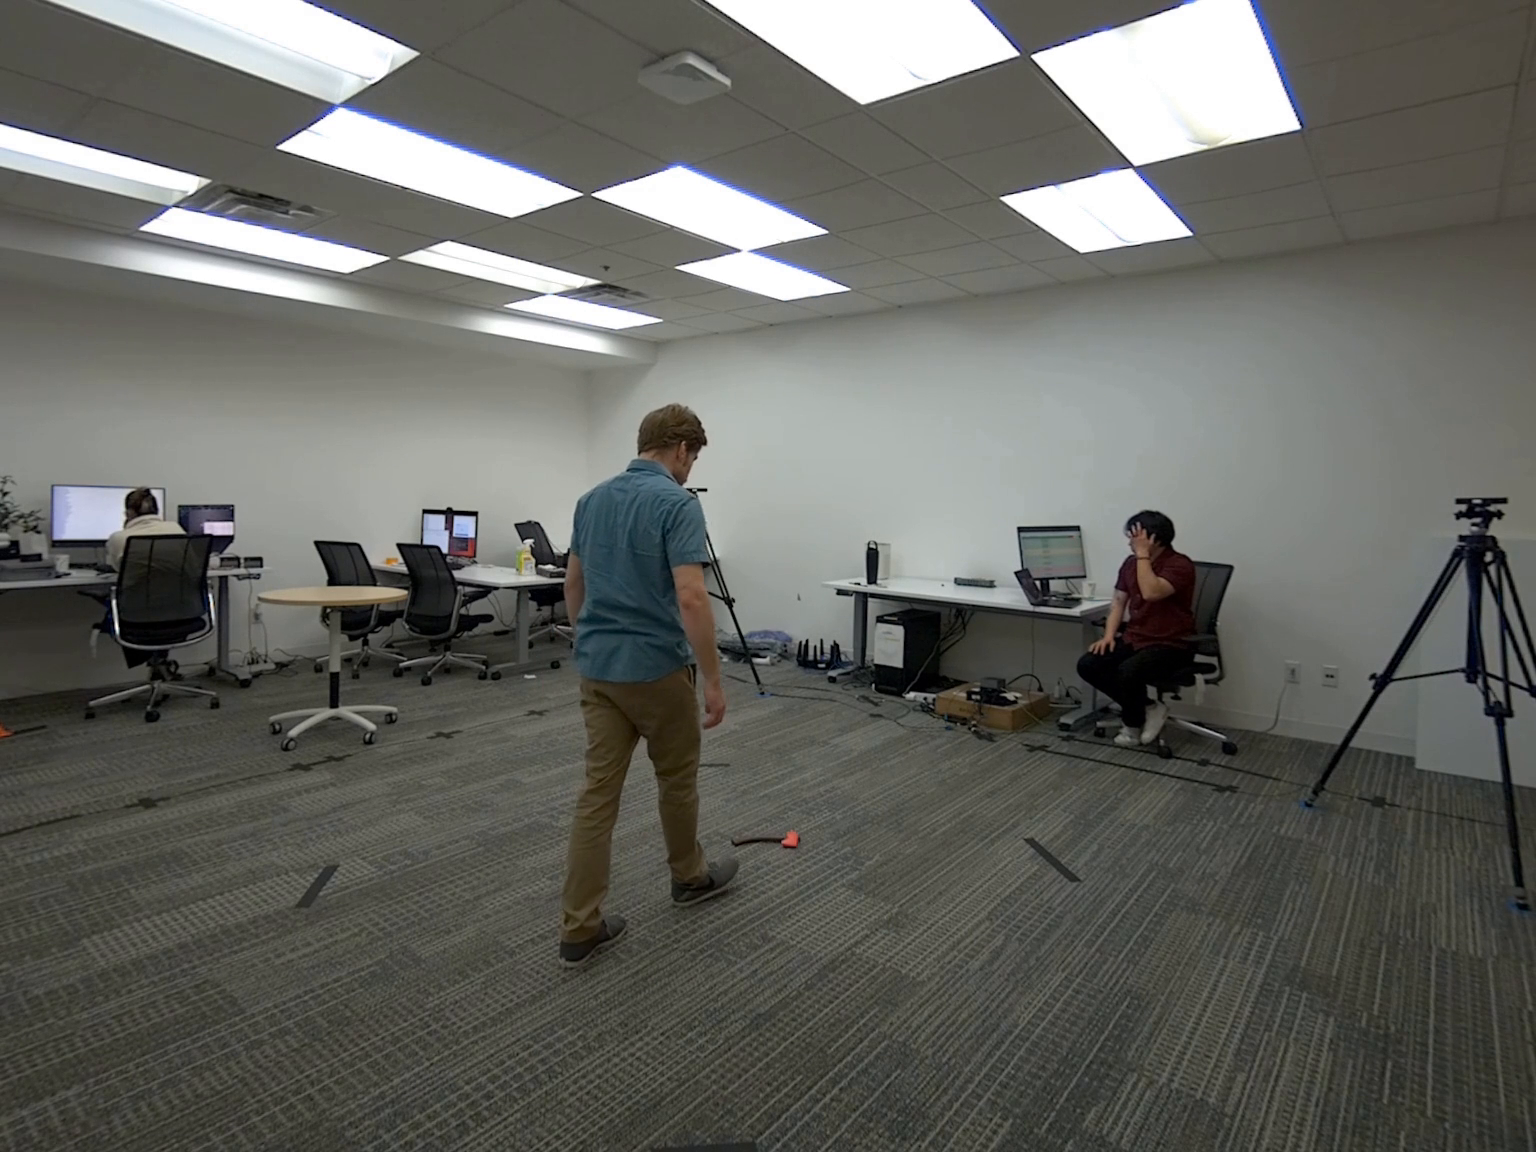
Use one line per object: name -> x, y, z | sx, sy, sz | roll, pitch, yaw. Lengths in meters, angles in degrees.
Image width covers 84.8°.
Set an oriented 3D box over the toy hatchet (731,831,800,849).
toy hatchet -> -0.006, 1.044, 3.330 | 0.265, 0.029, 0.134 | -4, 9, -21
